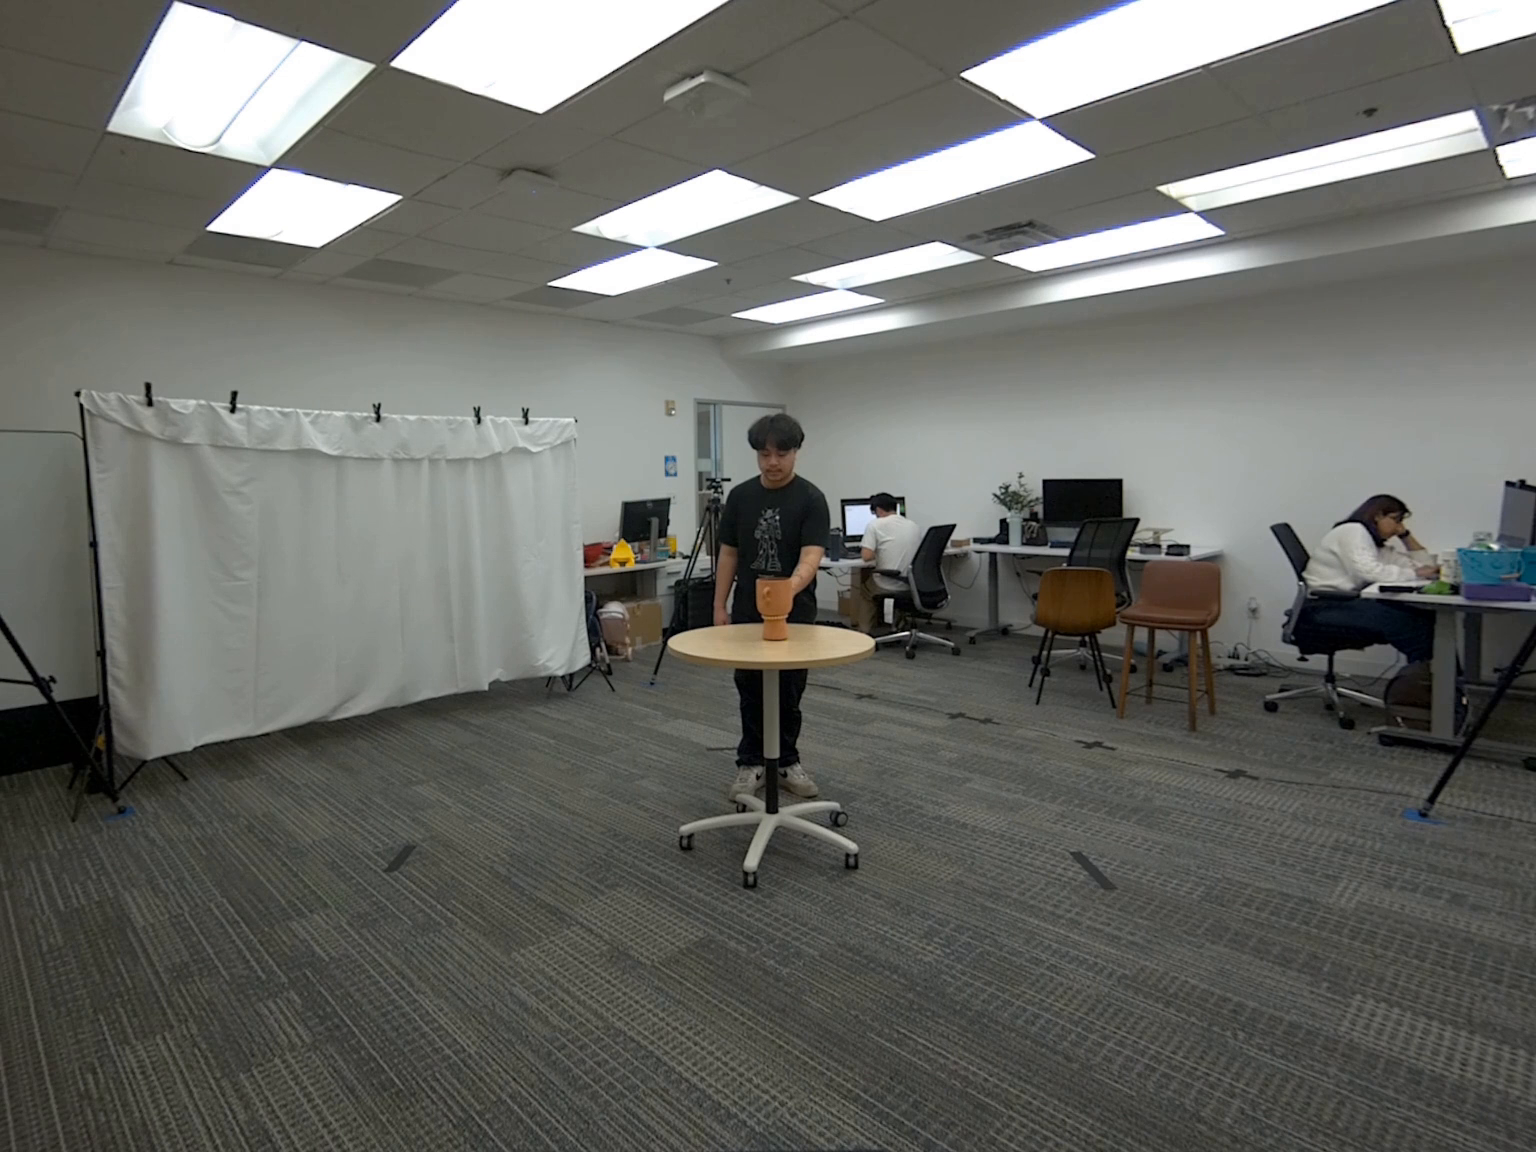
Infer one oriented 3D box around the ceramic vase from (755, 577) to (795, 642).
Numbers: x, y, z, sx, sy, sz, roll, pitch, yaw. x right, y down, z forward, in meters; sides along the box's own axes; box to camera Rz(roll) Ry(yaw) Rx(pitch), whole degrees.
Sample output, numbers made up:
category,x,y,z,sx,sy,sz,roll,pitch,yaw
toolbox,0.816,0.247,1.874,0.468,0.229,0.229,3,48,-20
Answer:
category,x,y,z,sx,sy,sz,roll,pitch,yaw
ceramic vase,0.025,0.125,3.206,0.155,0.219,0.138,-3,2,-27
